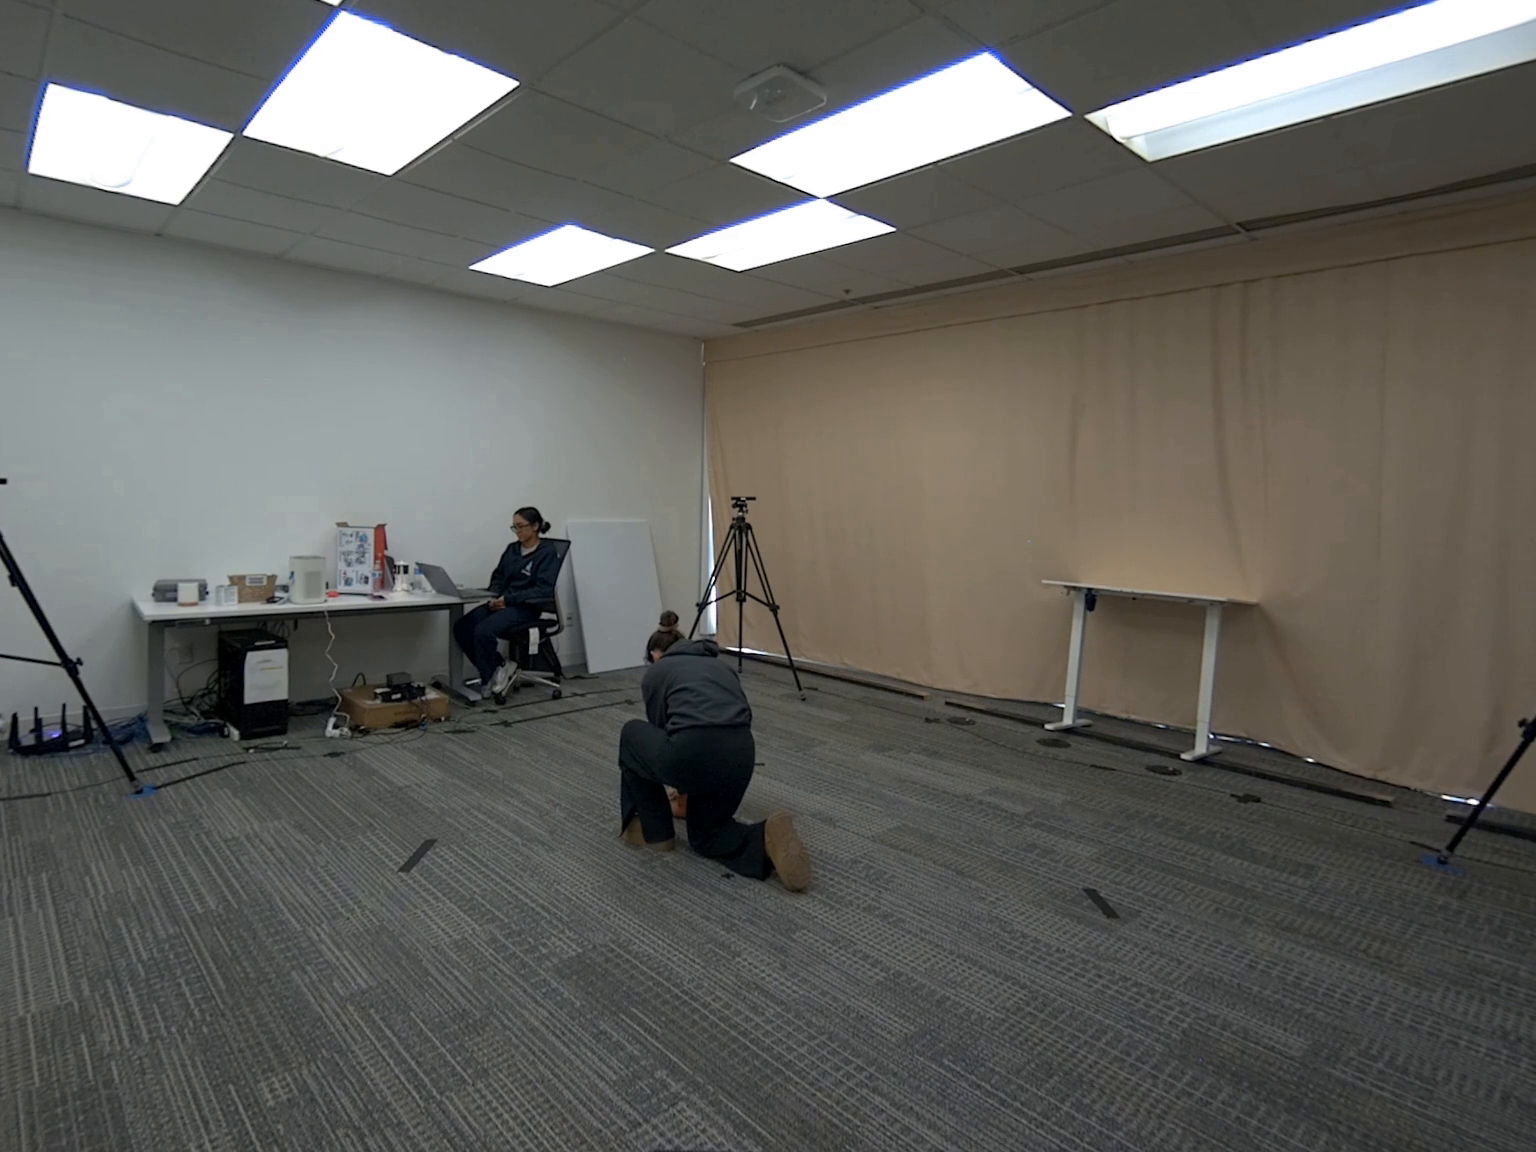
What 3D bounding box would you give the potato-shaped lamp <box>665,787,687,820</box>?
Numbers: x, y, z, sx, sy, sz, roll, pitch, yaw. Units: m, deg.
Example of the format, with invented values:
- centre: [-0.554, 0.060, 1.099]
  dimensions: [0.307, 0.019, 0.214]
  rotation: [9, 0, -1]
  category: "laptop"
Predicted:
- centre: [-0.365, 0.948, 3.699]
  dimensions: [0.175, 0.198, 0.161]
  rotation: [0, -1, 44]
  category: "potato-shaped lamp"
